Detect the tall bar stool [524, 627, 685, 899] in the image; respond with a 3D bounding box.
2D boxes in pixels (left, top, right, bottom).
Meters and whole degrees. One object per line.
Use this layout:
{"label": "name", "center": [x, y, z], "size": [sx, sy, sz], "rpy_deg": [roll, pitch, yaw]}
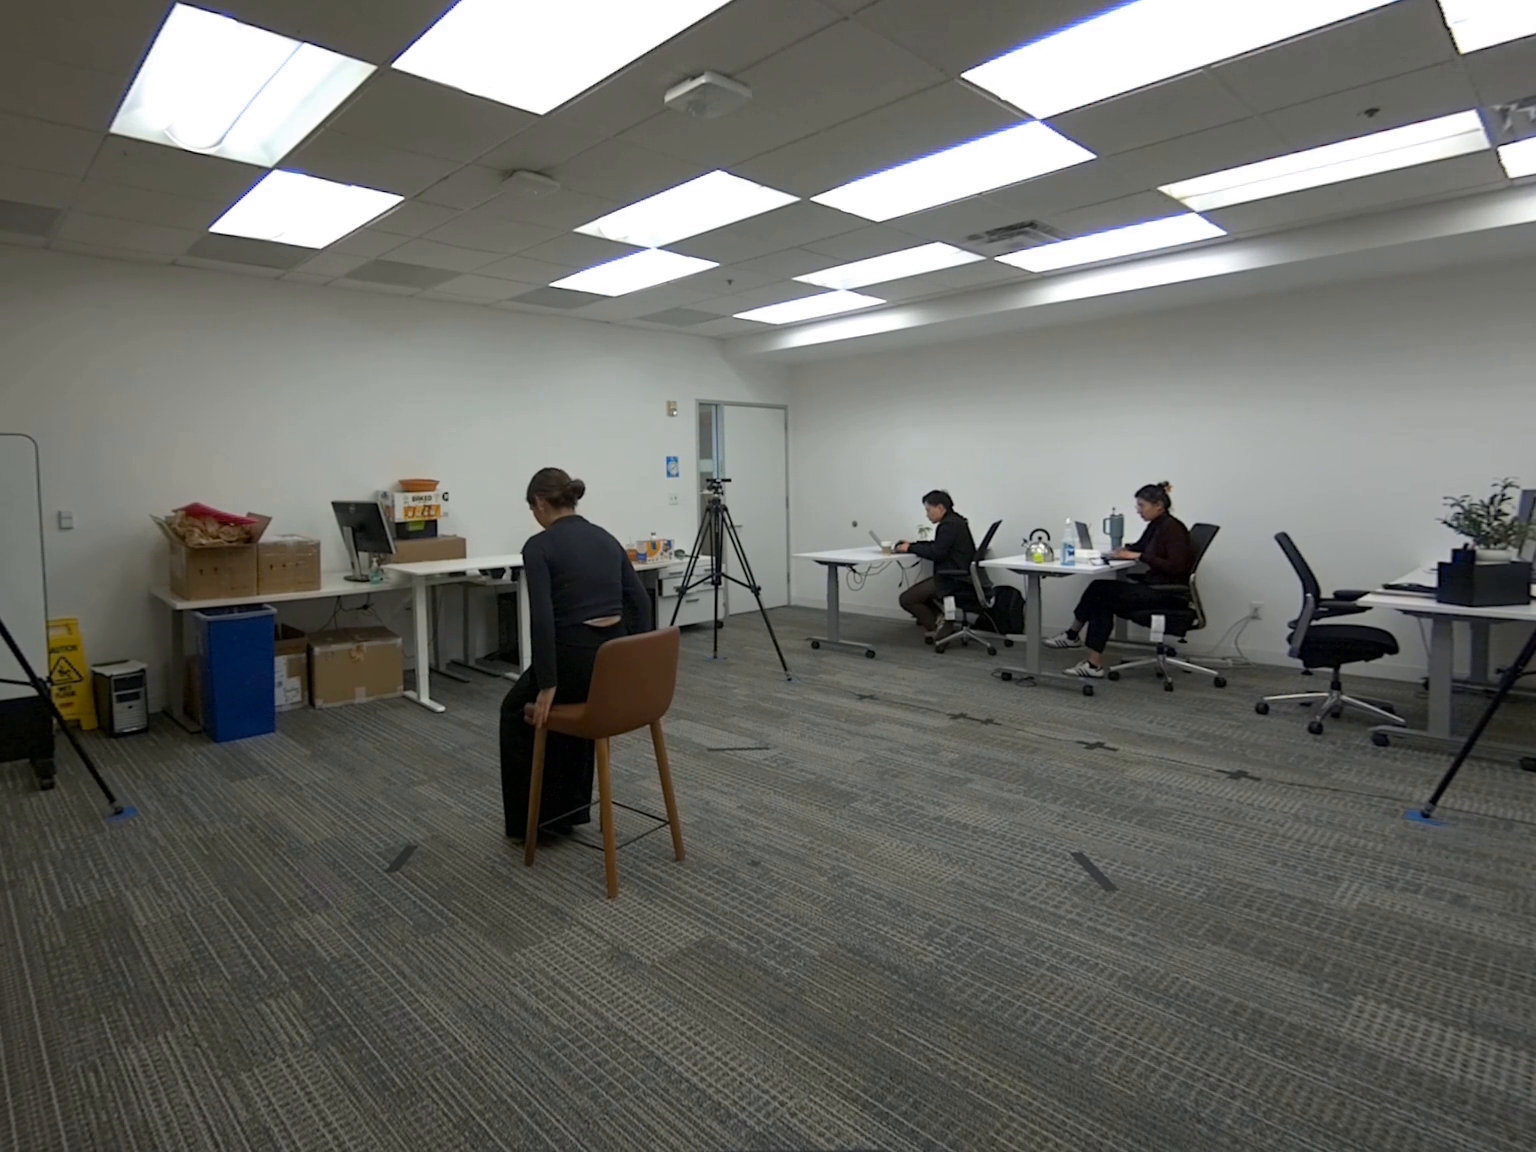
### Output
{"label": "tall bar stool", "center": [-0.594, 0.618, 3.112], "size": [0.481, 0.886, 0.445], "rpy_deg": [4, 6, 37]}
